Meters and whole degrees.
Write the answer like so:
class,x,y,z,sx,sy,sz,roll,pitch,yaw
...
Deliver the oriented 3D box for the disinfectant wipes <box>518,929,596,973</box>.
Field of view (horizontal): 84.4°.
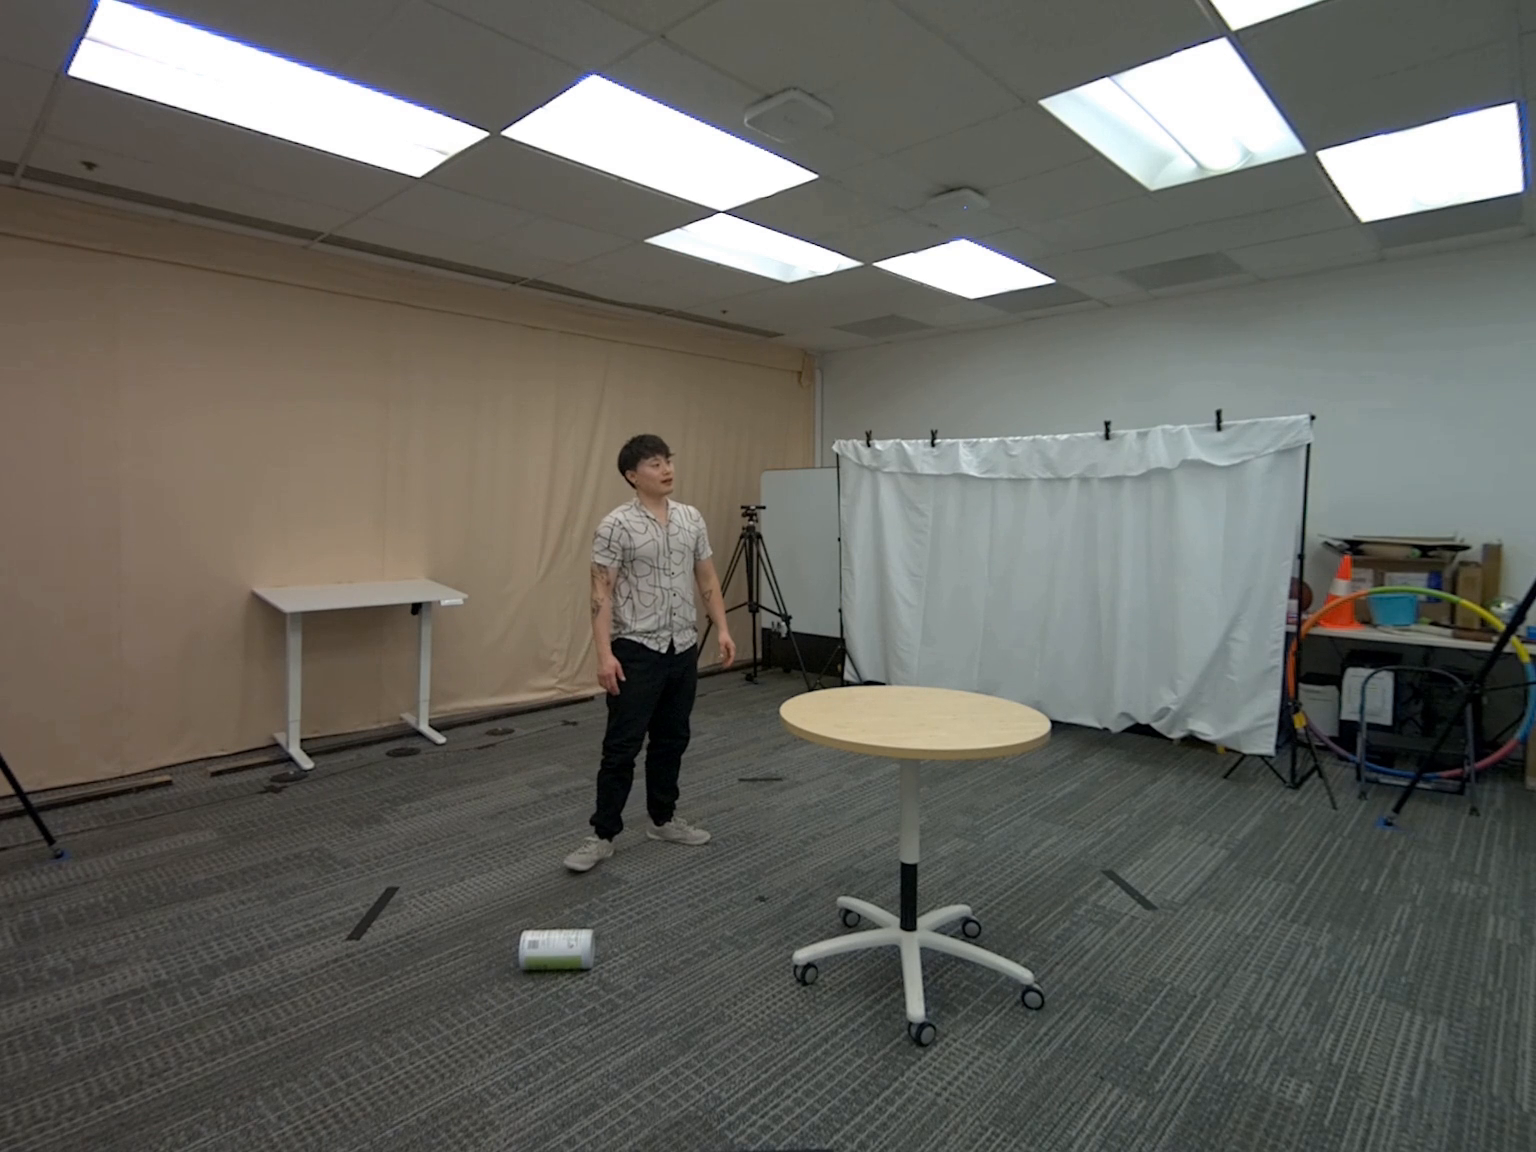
class,x,y,z,sx,sy,sz,roll,pitch,yaw
disinfectant wipes,-0.634,1.120,2.542,0.217,0.117,0.118,-2,4,0
